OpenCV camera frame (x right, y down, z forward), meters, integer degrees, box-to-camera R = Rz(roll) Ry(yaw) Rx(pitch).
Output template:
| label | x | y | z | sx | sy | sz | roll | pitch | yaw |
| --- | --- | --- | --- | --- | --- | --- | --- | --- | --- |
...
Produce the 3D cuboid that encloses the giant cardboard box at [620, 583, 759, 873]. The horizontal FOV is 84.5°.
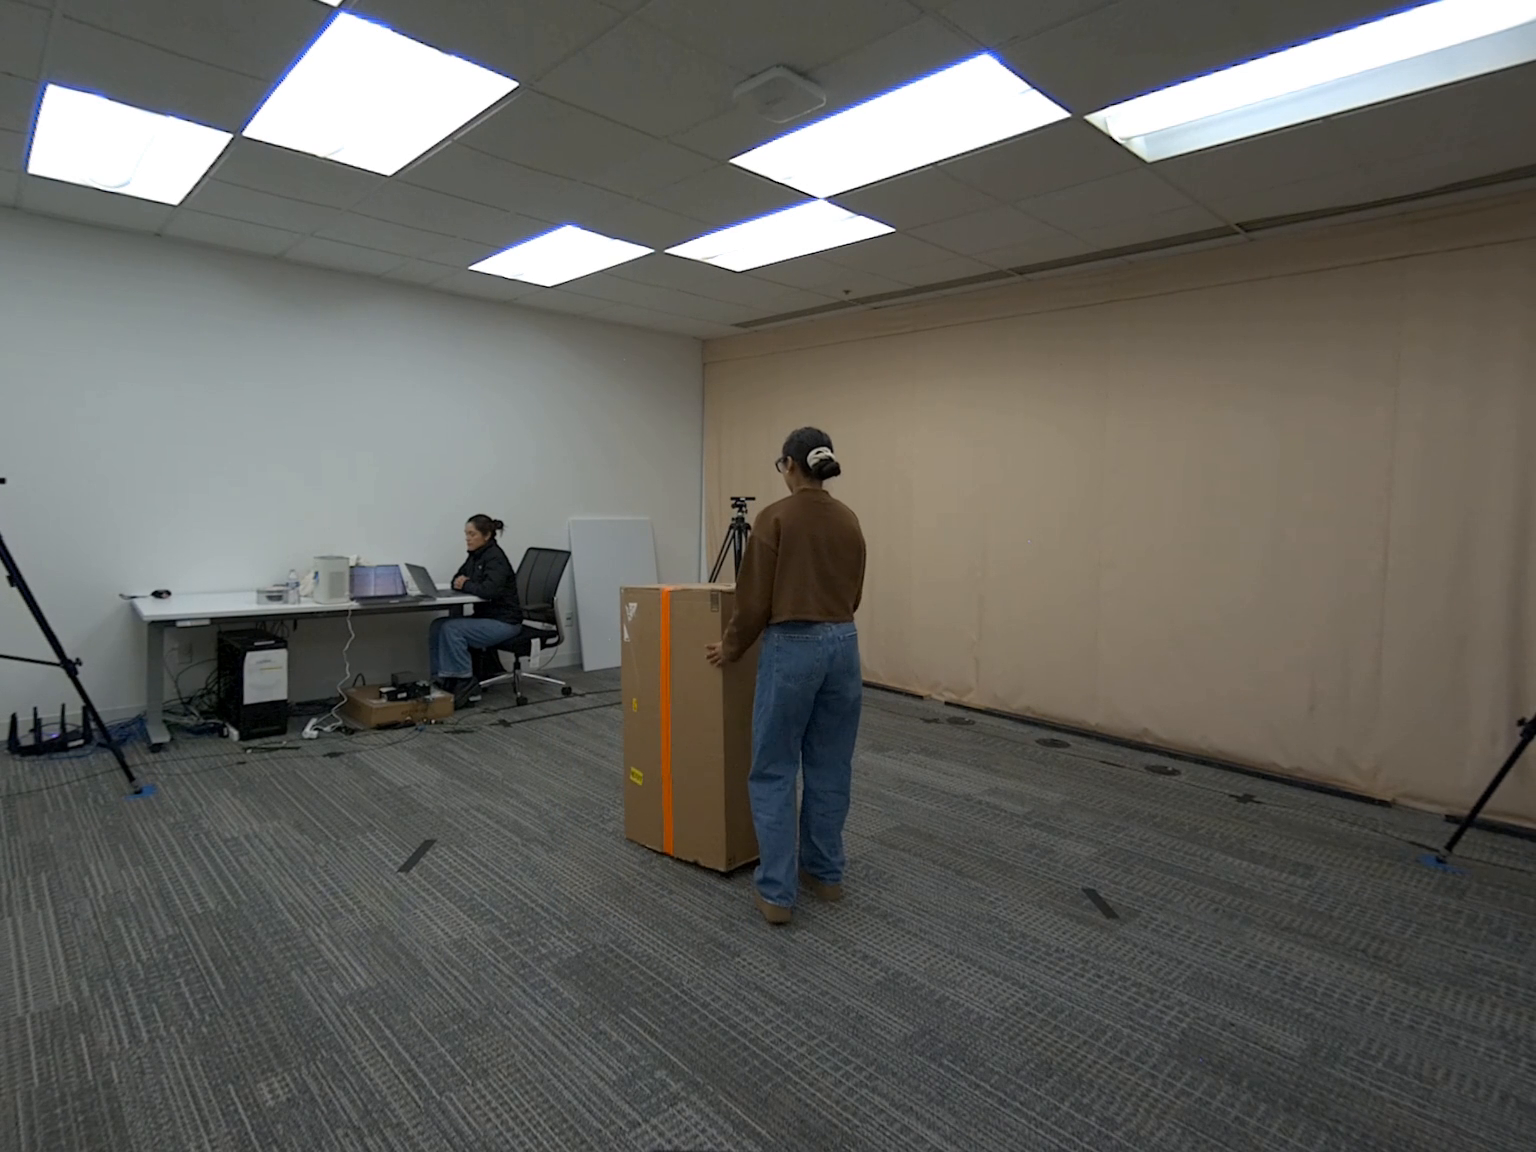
| label | x | y | z | sx | sy | sz | roll | pitch | yaw |
| --- | --- | --- | --- | --- | --- | --- | --- | --- | --- |
| giant cardboard box | -0.254 | 0.554 | 3.382 | 0.591 | 1.026 | 0.416 | -1 | 0 | 43 |
